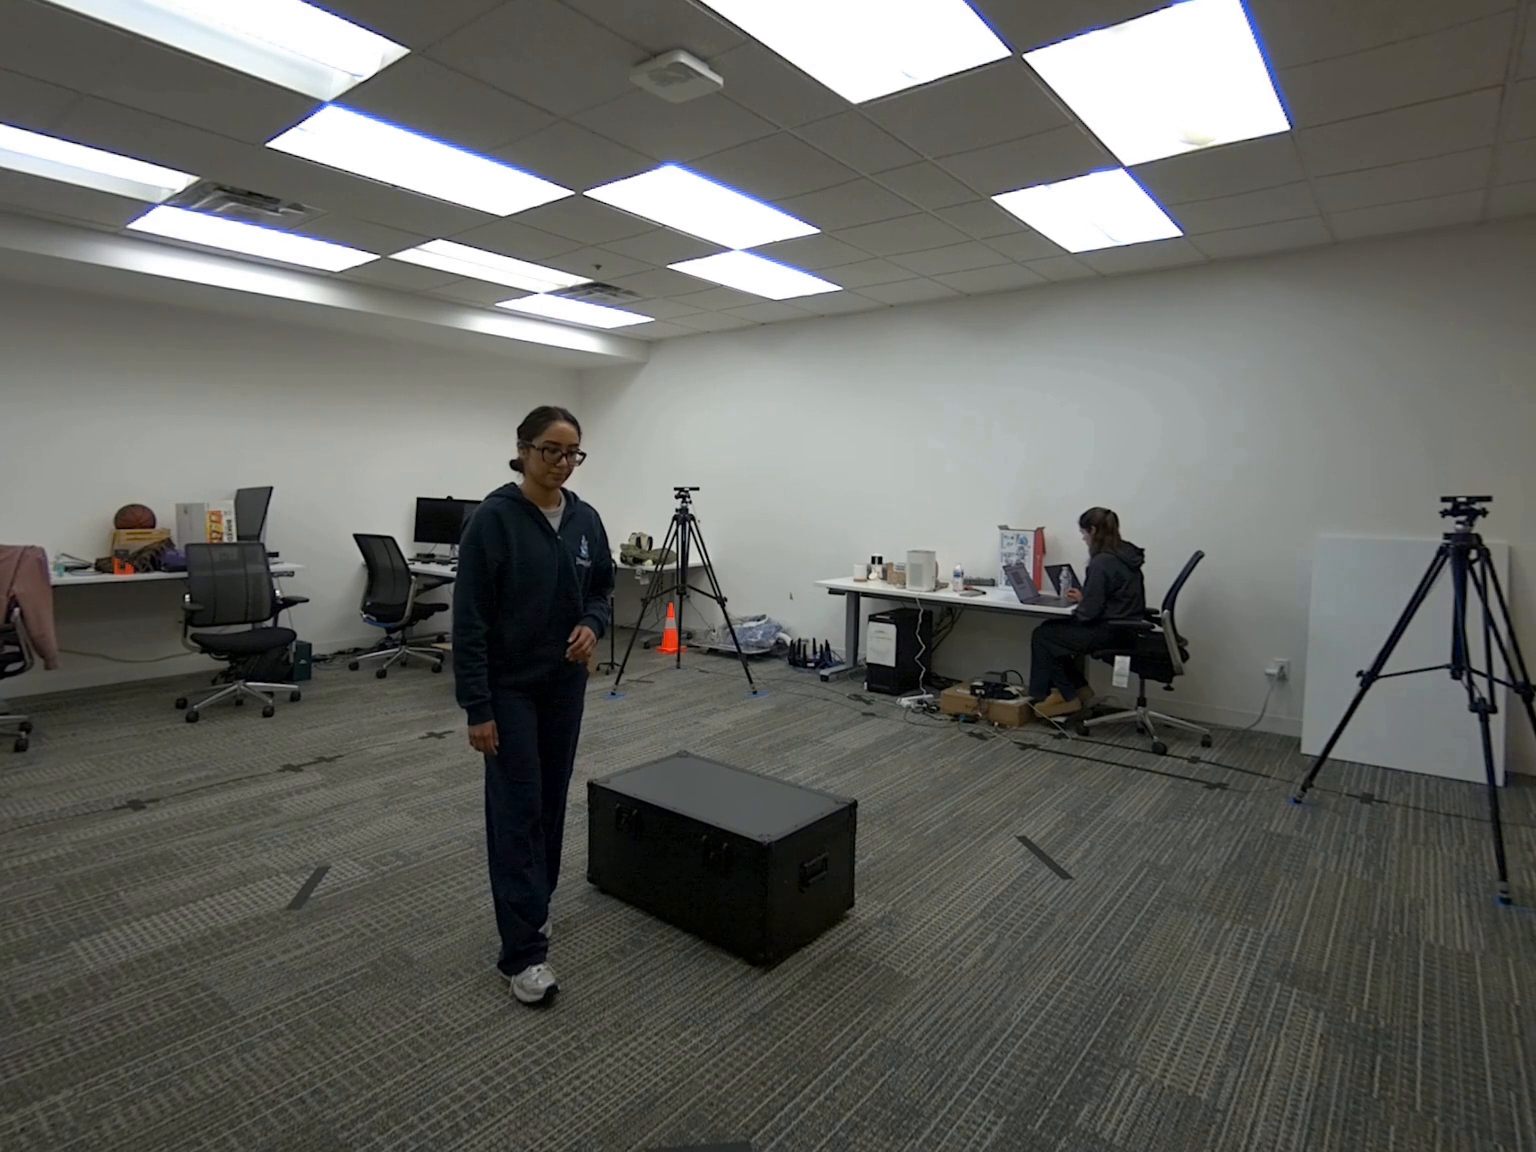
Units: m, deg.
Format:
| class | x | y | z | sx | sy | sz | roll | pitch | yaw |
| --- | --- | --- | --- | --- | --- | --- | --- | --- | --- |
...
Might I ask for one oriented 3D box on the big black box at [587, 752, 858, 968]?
| class | x | y | z | sx | sy | sz | roll | pitch | yaw |
| --- | --- | --- | --- | --- | --- | --- | --- | --- | --- |
| big black box | -0.199 | 0.898 | 2.880 | 0.890 | 0.395 | 0.506 | 6 | 7 | 38 |
